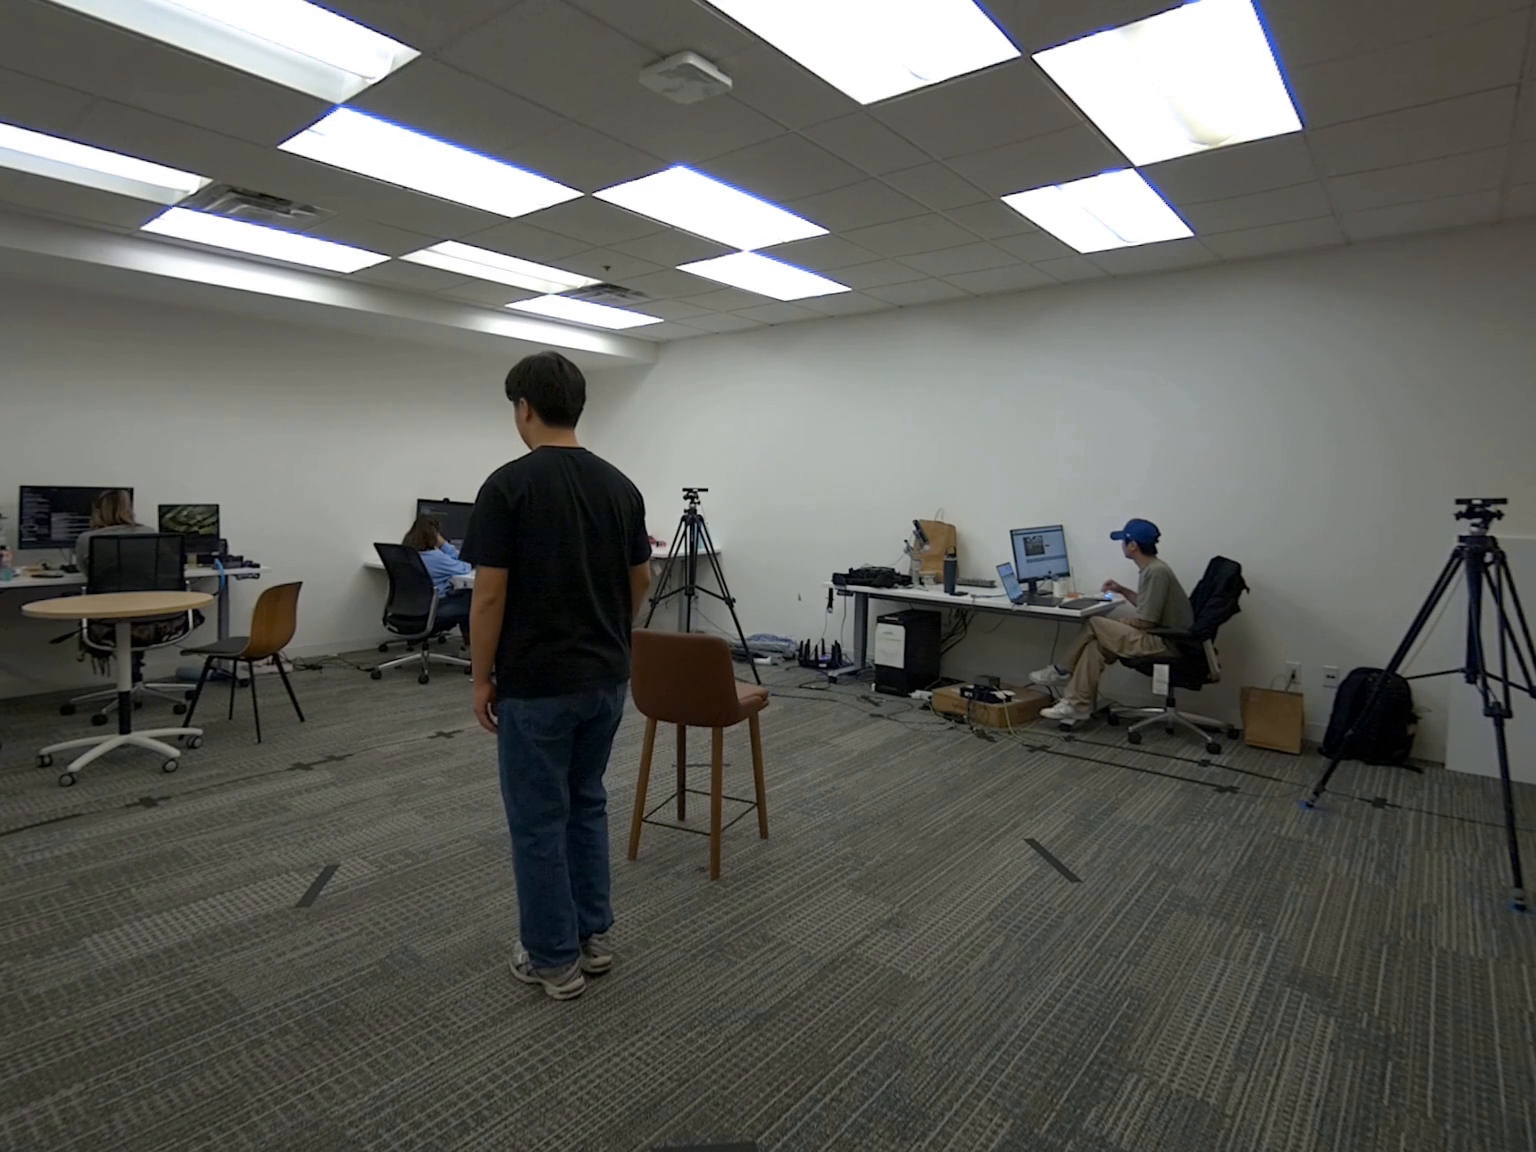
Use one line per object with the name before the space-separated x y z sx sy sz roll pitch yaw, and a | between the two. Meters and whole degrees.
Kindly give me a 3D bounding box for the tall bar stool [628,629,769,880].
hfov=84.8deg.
tall bar stool | -0.274 0.616 3.280 0.468 0.886 0.457 2 5 25
